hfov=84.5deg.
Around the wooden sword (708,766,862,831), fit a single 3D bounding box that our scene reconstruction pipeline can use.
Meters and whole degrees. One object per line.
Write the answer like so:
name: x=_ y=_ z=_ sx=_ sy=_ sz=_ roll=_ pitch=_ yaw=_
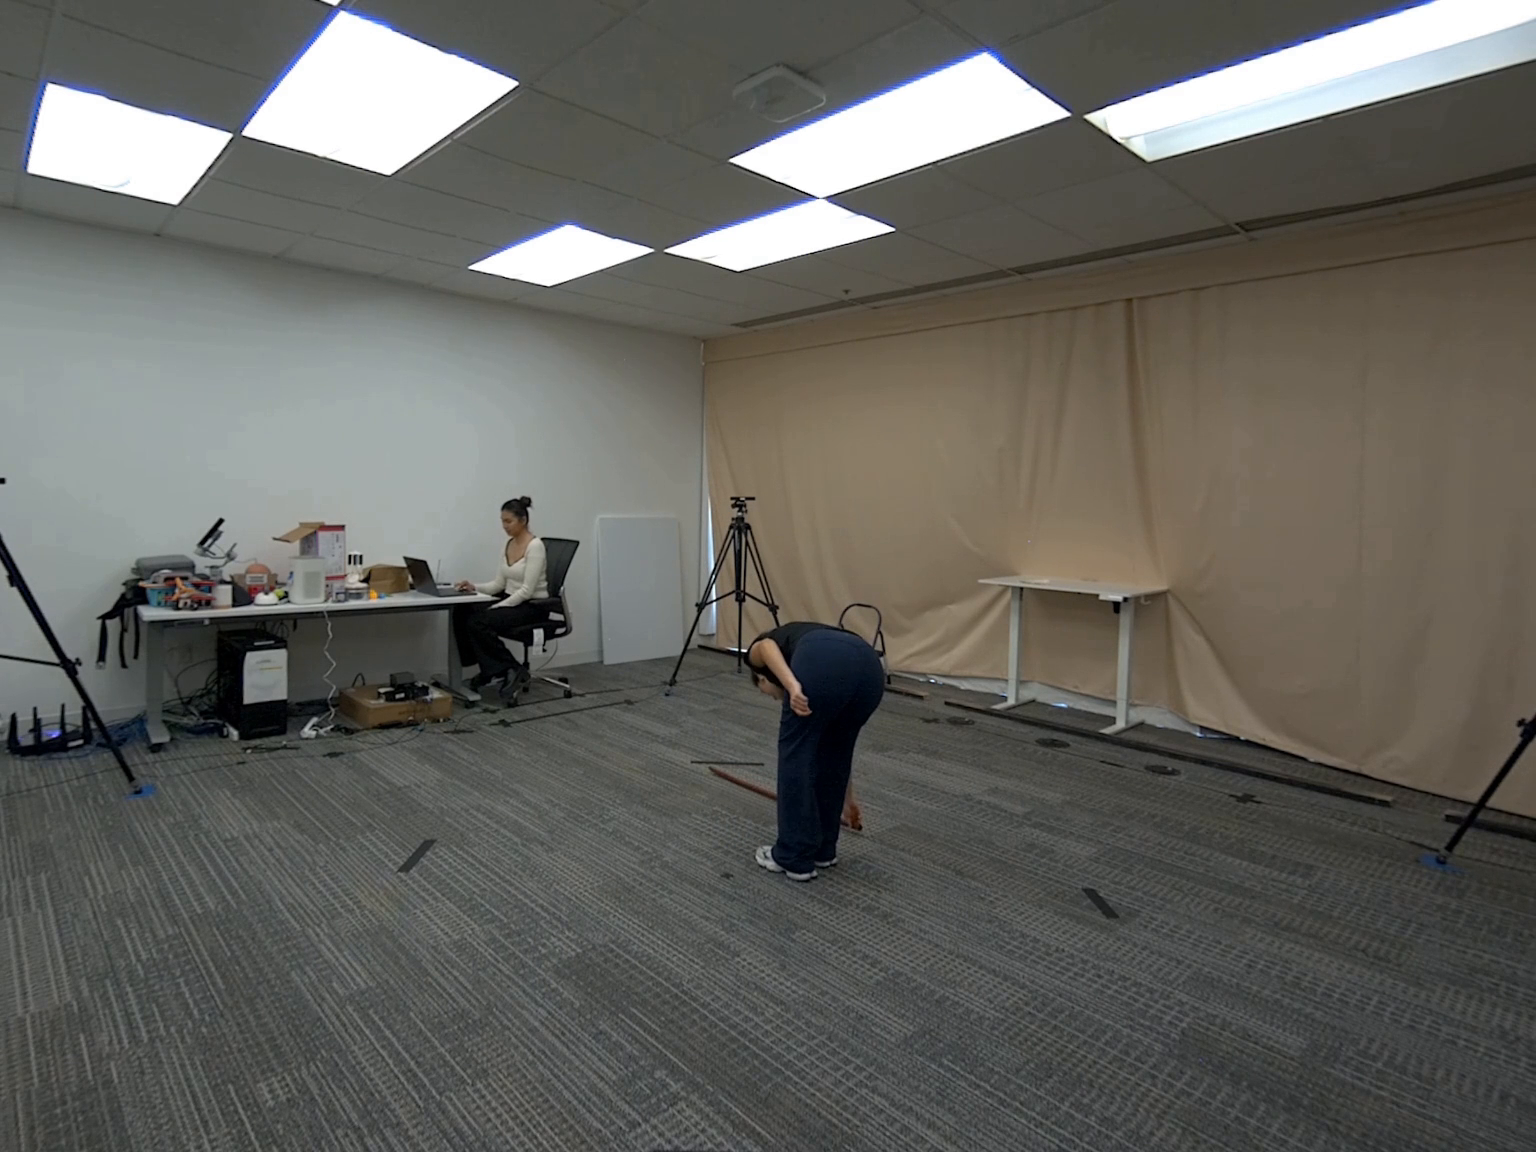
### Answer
wooden sword: x=0.035 y=1.010 z=3.879 sx=0.050 sy=0.024 sz=1.051 roll=0 pitch=4 yaw=-41
